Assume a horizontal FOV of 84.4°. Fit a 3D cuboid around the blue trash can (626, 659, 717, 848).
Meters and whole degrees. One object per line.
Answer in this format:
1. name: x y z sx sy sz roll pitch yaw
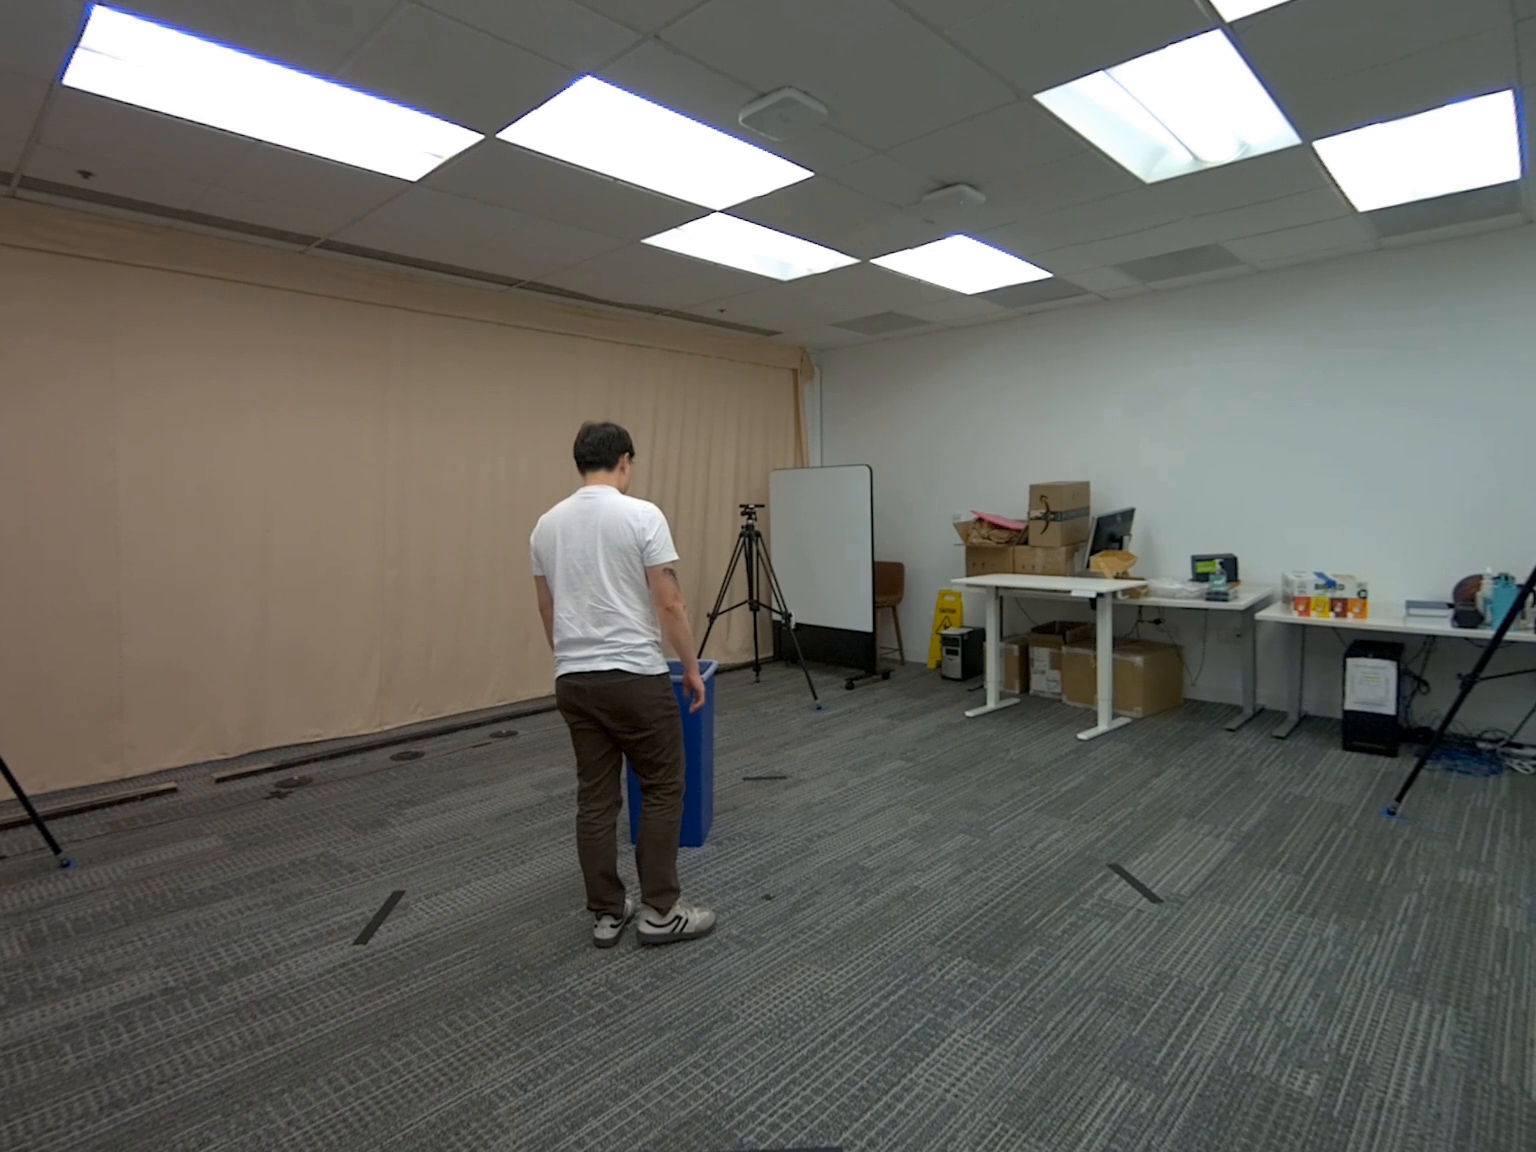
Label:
1. blue trash can: -0.412 0.741 3.574 0.381 0.712 0.372 0 3 7
